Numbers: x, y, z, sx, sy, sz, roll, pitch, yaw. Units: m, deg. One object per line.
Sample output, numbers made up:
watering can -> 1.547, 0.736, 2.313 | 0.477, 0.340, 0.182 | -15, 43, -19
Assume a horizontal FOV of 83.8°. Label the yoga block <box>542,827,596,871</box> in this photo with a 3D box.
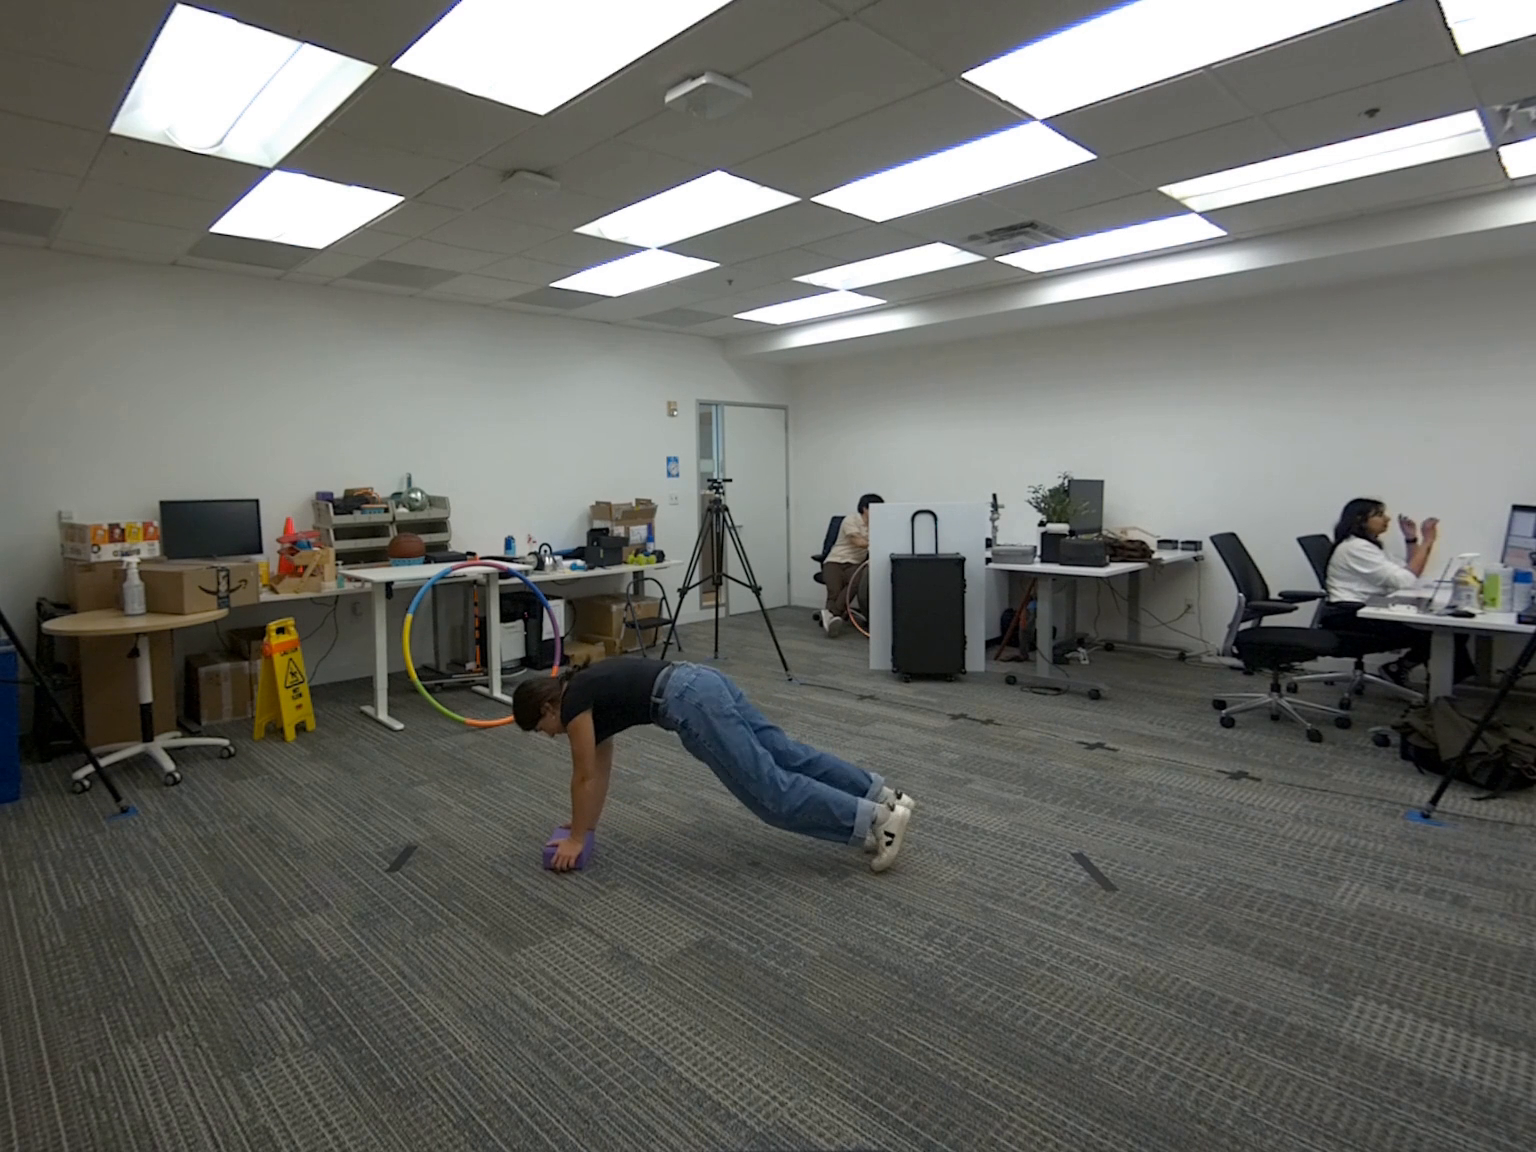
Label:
yoga block -> -0.742, 1.011, 3.196 | 0.149, 0.076, 0.230 | 0, 8, 1
